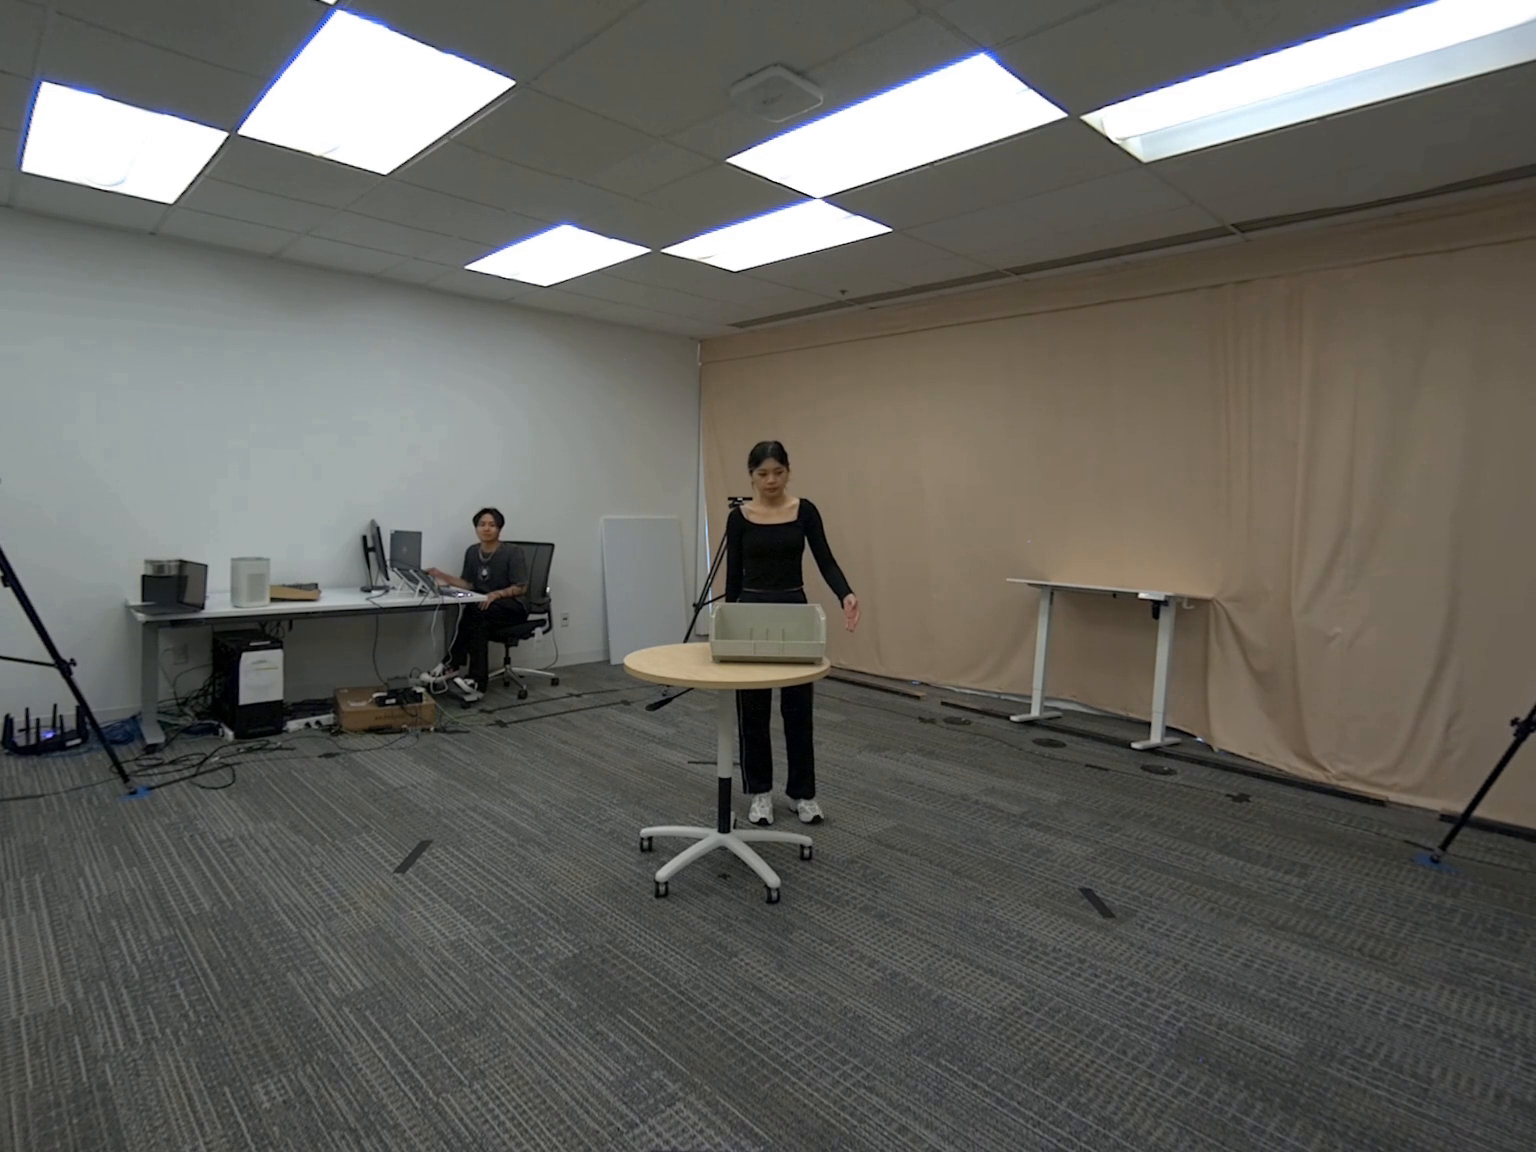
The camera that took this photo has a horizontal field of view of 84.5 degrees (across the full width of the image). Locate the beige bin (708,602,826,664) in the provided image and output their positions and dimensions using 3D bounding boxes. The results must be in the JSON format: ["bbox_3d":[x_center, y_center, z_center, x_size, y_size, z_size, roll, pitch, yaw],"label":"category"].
[{"bbox_3d":[-0.011,0.220,3.192,0.423,0.188,0.378,0,4,1],"label":"beige bin"}]
